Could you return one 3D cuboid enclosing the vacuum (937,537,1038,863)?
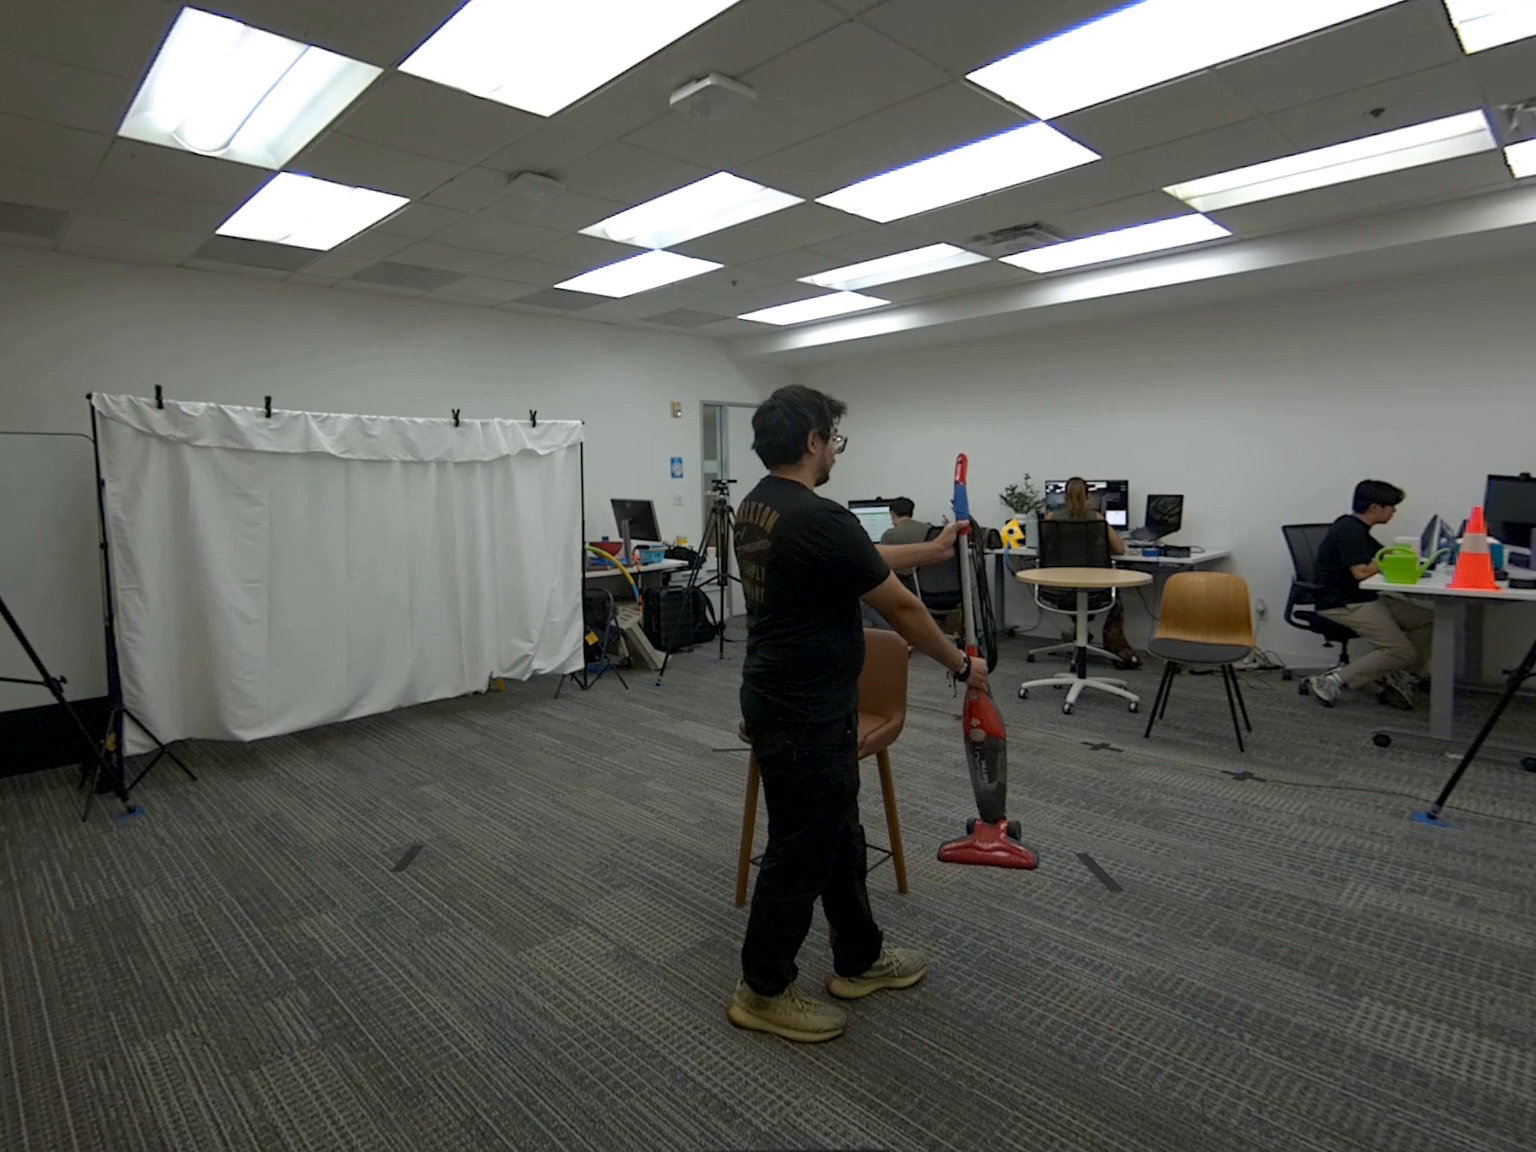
[{"bbox_3d":[0.575,0.176,2.318,0.259,1.060,0.139,-8,-15,37],"label":"vacuum"}]
